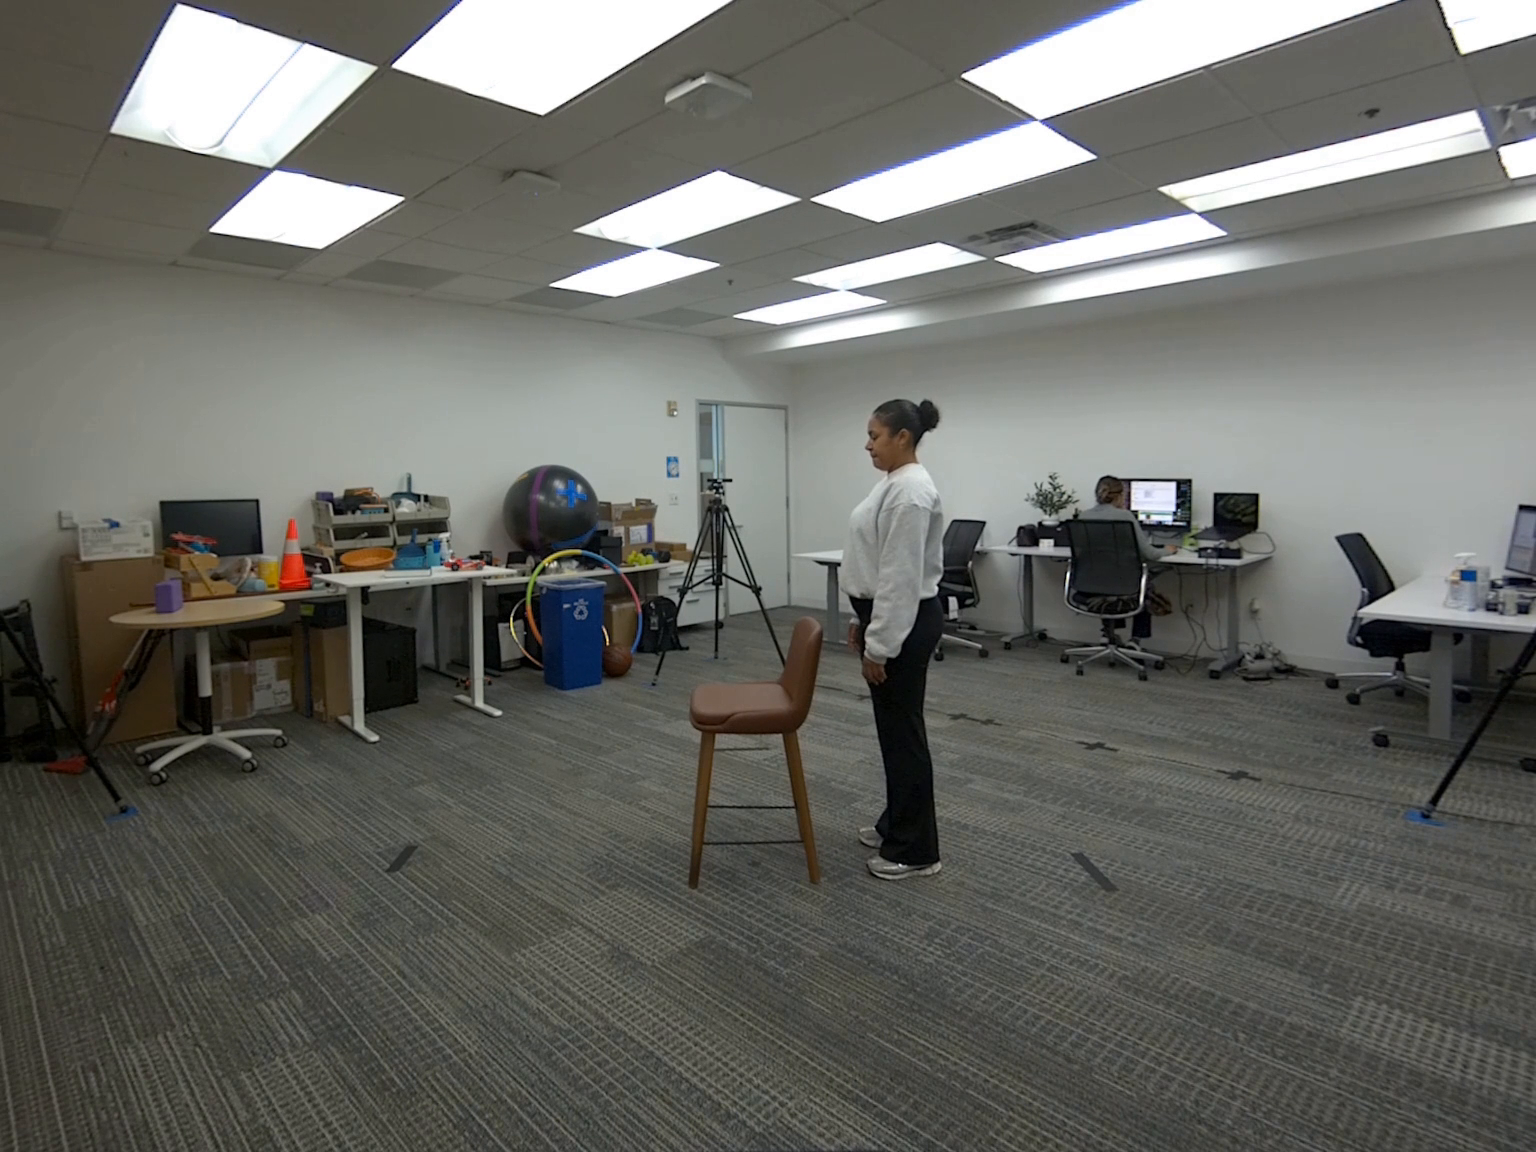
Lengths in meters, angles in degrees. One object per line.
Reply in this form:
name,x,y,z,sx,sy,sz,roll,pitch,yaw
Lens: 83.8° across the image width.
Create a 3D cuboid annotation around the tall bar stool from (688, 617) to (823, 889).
tall bar stool,-0.046,0.612,3.092,0.467,0.887,0.458,1,4,-1
